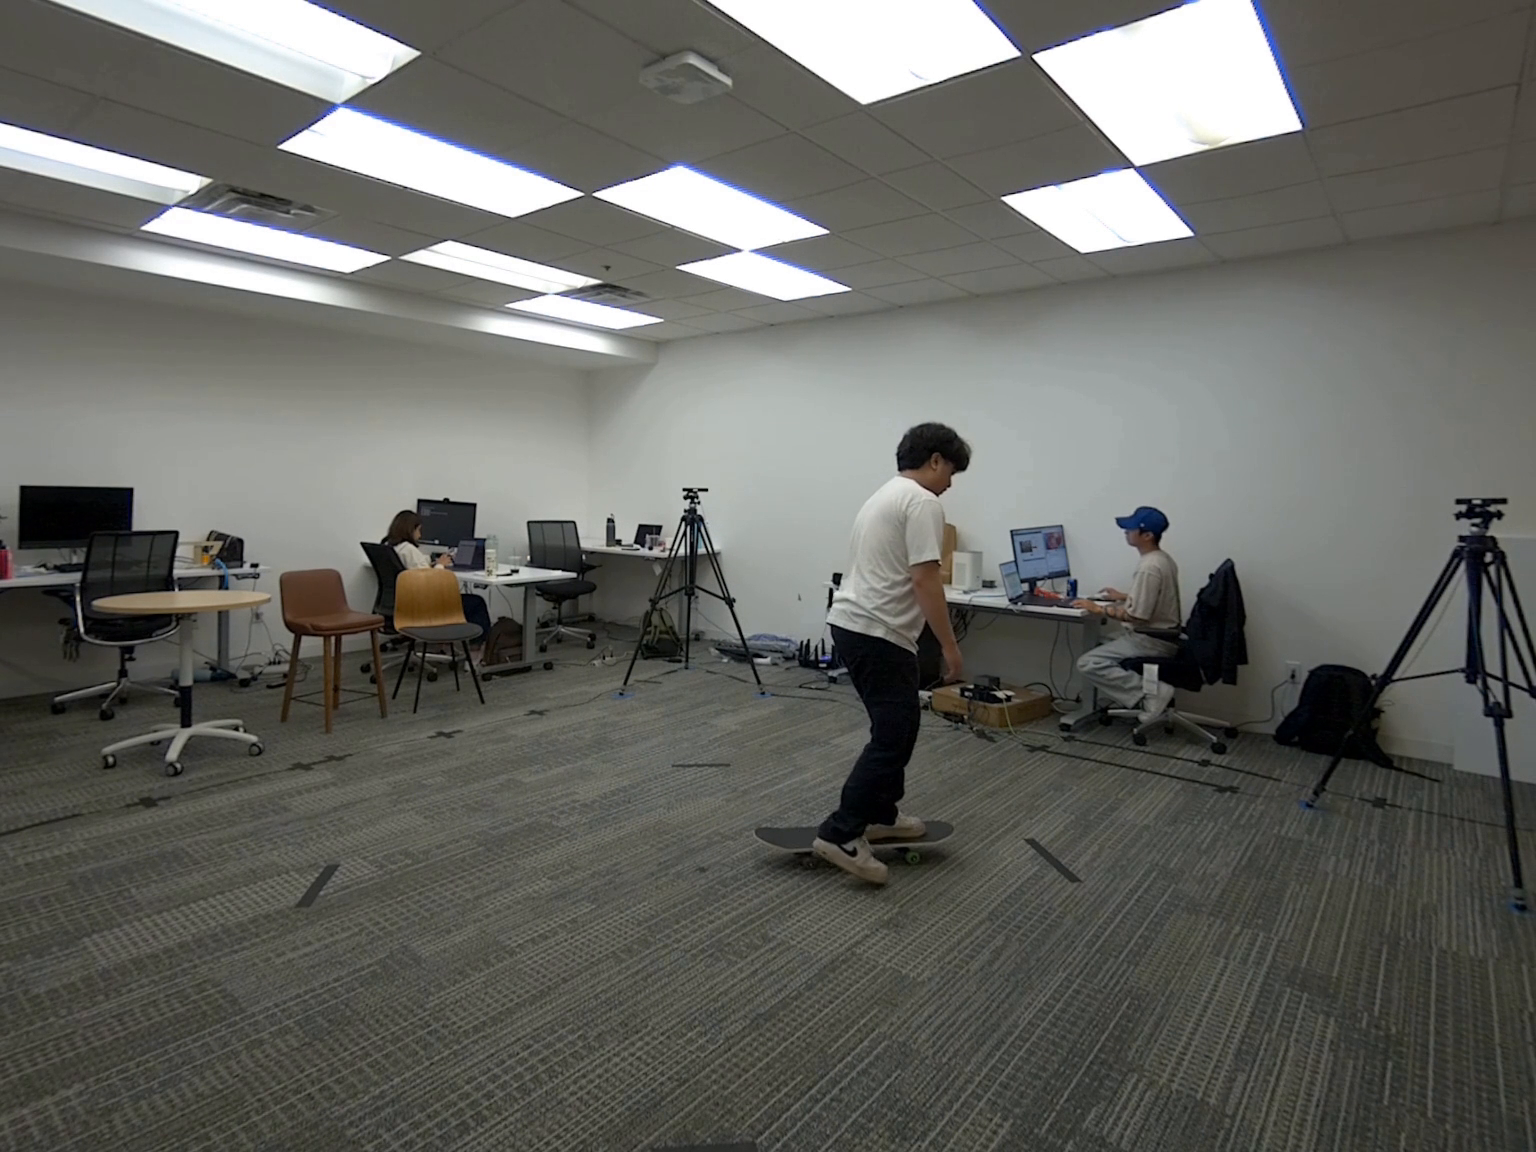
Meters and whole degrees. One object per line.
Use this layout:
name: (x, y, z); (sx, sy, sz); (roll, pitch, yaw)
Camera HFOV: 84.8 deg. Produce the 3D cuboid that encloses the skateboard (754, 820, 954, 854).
skateboard: (0.319, 1.010, 3.236); (0.778, 0.110, 0.196); (-1, 4, -9)
